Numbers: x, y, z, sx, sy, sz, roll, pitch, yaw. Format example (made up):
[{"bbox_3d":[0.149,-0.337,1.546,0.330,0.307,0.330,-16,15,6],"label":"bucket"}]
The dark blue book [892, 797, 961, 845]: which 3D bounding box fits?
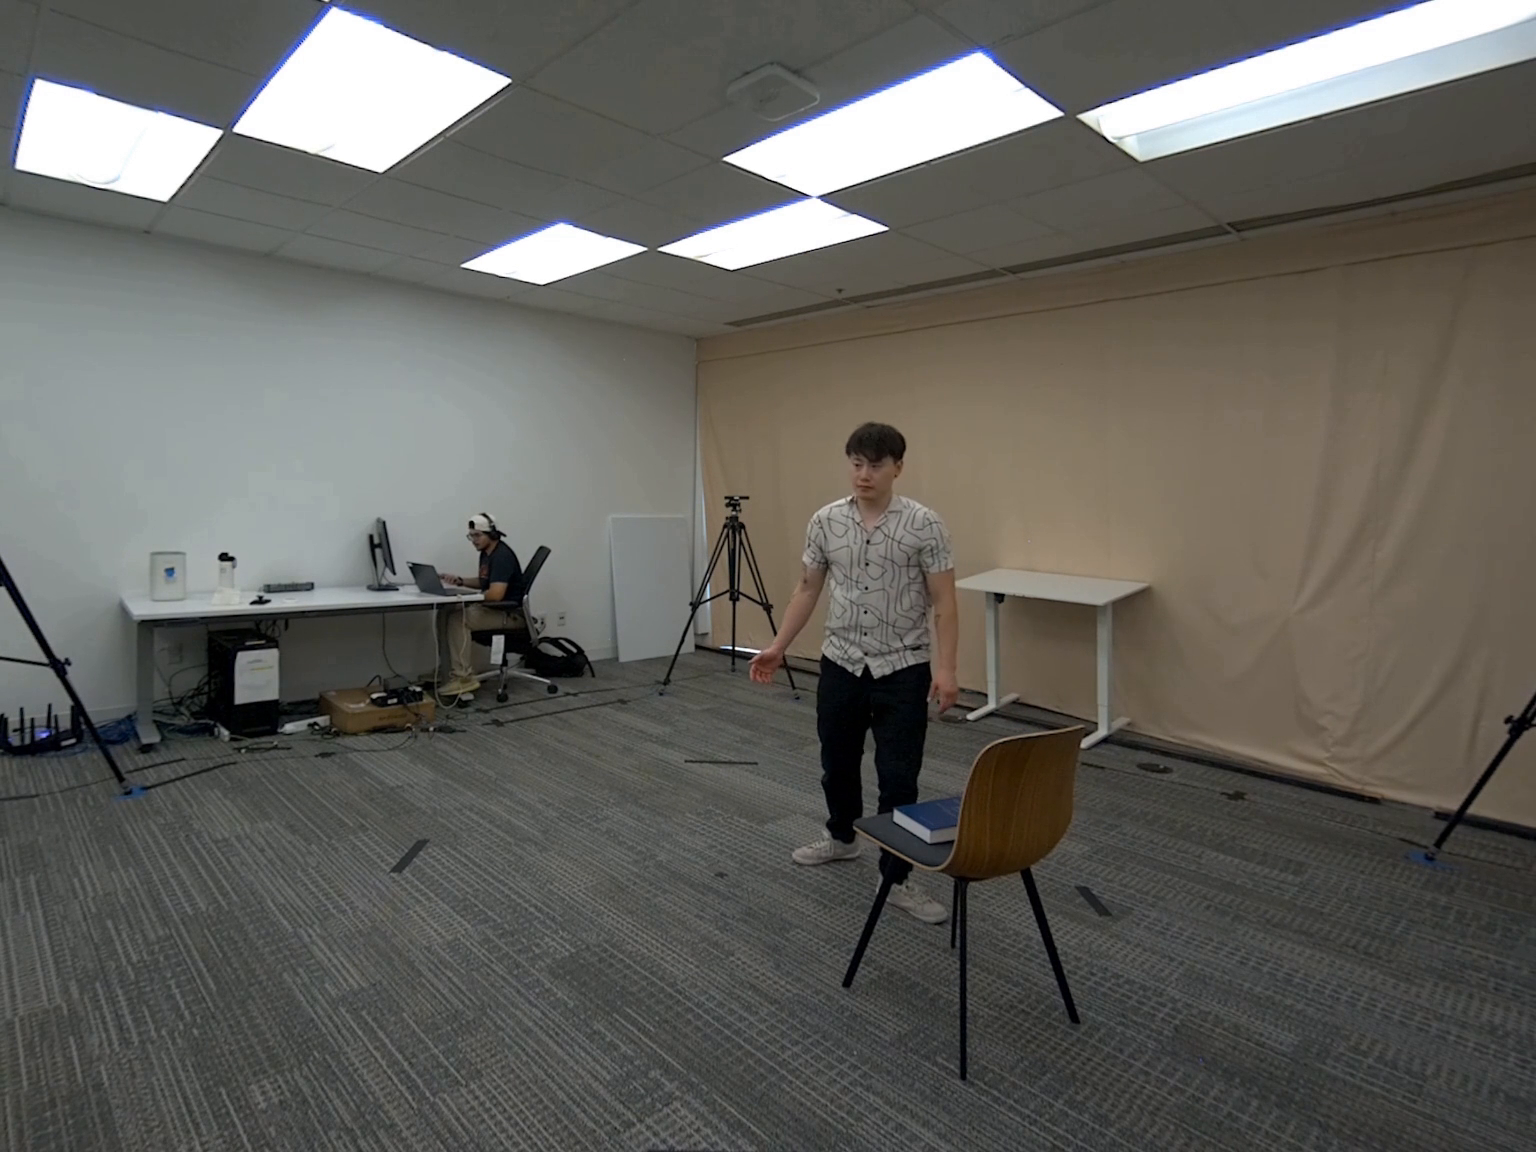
[{"bbox_3d":[0.487,0.685,2.357,0.240,0.045,0.167,0,8,-29],"label":"dark blue book"}]
